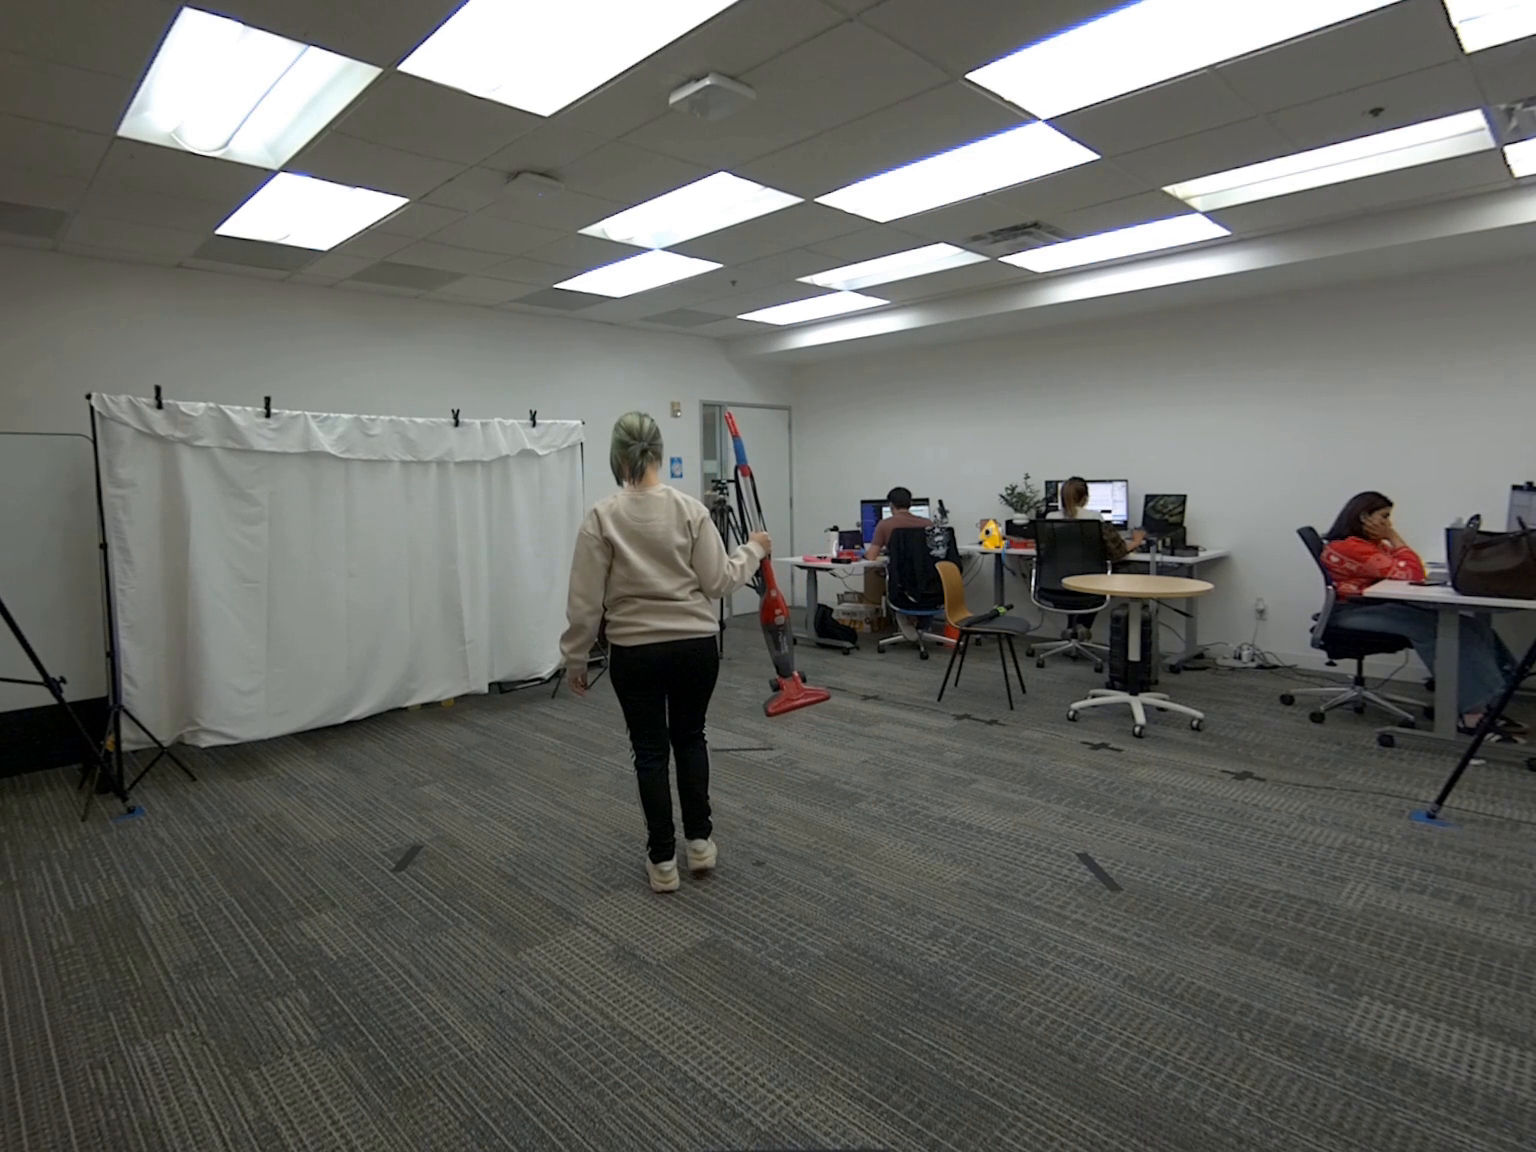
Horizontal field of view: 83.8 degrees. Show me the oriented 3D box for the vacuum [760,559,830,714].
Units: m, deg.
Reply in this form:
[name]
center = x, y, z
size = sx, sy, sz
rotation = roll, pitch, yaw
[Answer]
[vacuum]
center = -0.021, -0.079, 3.134
size = 0.251, 1.045, 0.145
rotation = -14, 4, -9
